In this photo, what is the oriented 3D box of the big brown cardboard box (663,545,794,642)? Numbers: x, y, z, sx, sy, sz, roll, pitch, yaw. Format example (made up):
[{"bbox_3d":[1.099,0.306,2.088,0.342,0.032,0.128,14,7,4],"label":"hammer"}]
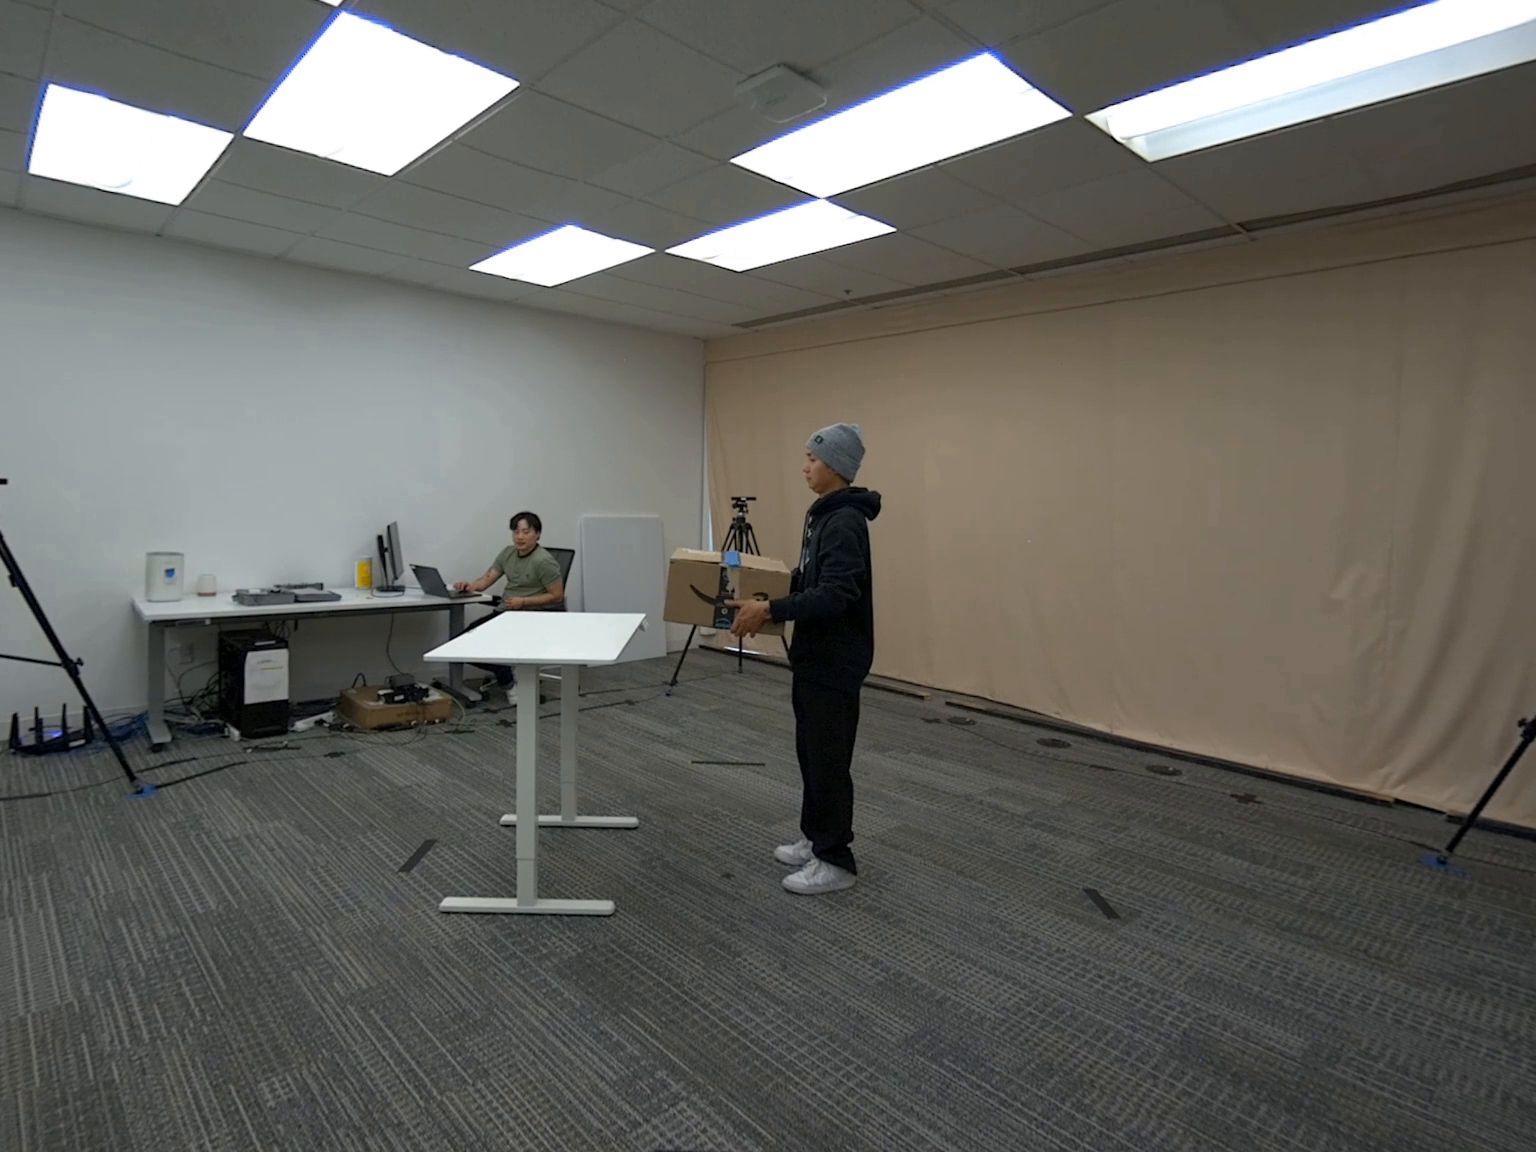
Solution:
[{"bbox_3d":[-0.150,0.046,3.109,0.416,0.232,0.592,6,6,-3],"label":"big brown cardboard box"}]
